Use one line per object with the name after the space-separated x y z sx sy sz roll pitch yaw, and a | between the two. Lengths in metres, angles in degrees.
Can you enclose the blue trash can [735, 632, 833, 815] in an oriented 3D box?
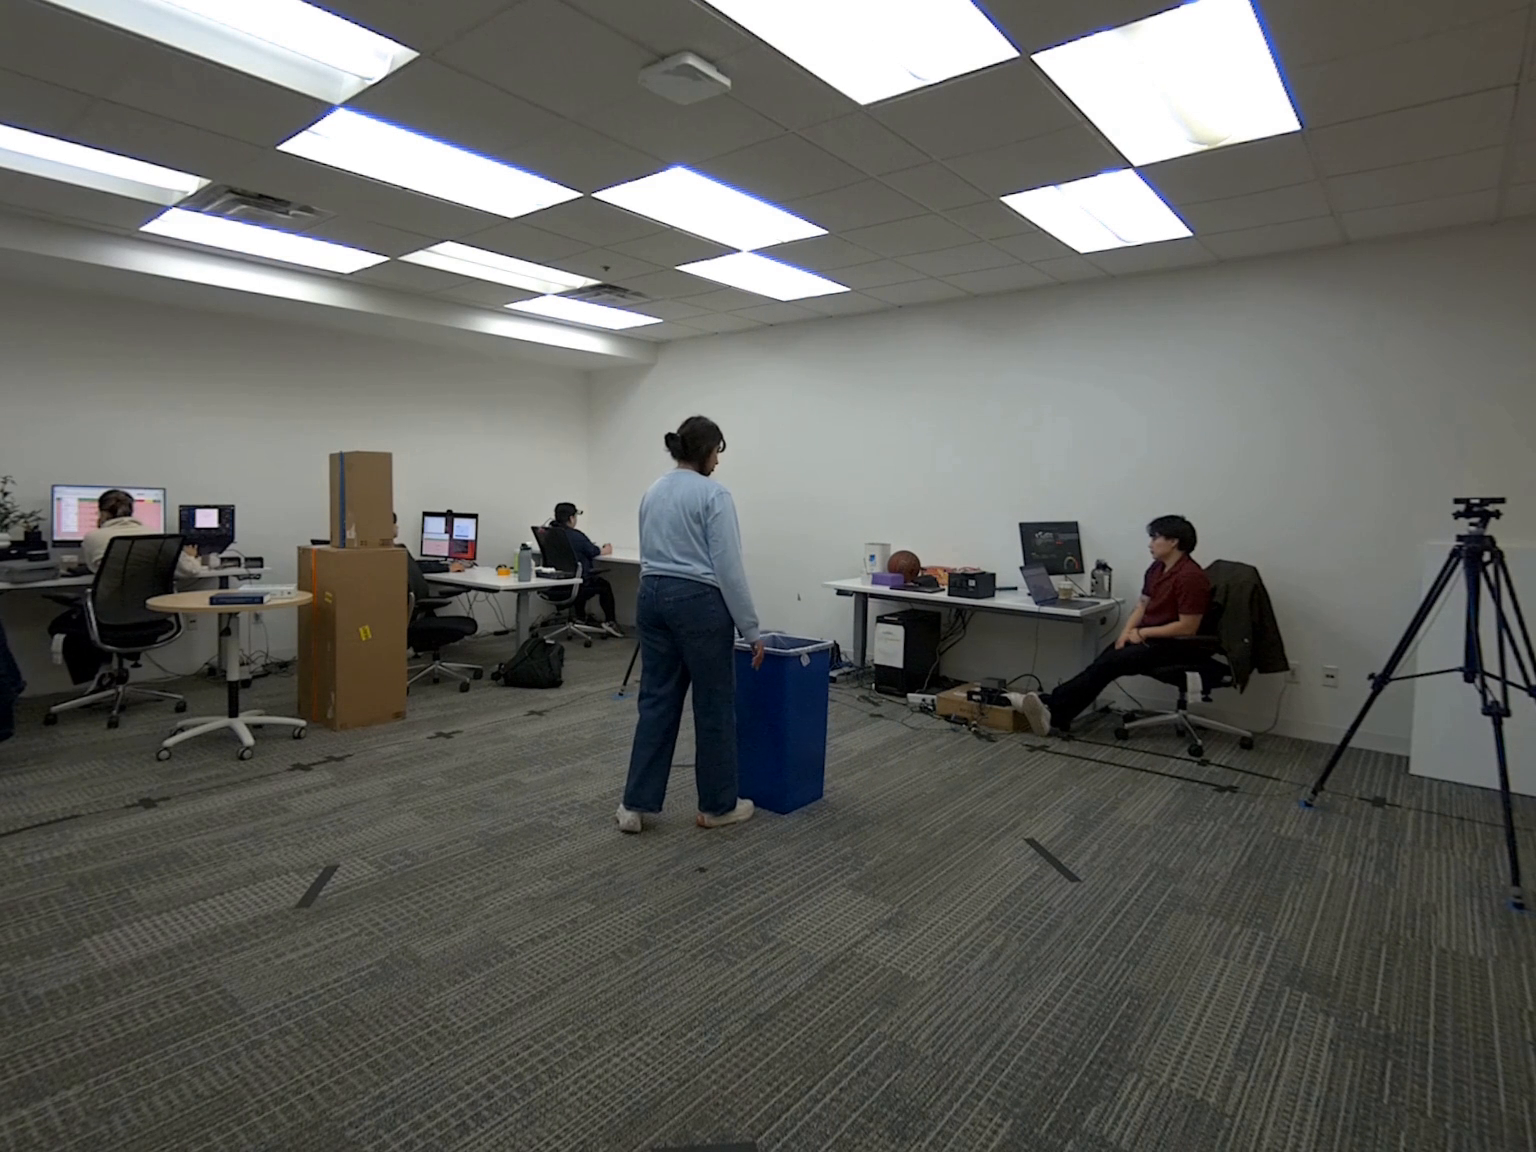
0.034 0.646 3.840 0.386 0.712 0.367 4 4 39 | blue trash can
